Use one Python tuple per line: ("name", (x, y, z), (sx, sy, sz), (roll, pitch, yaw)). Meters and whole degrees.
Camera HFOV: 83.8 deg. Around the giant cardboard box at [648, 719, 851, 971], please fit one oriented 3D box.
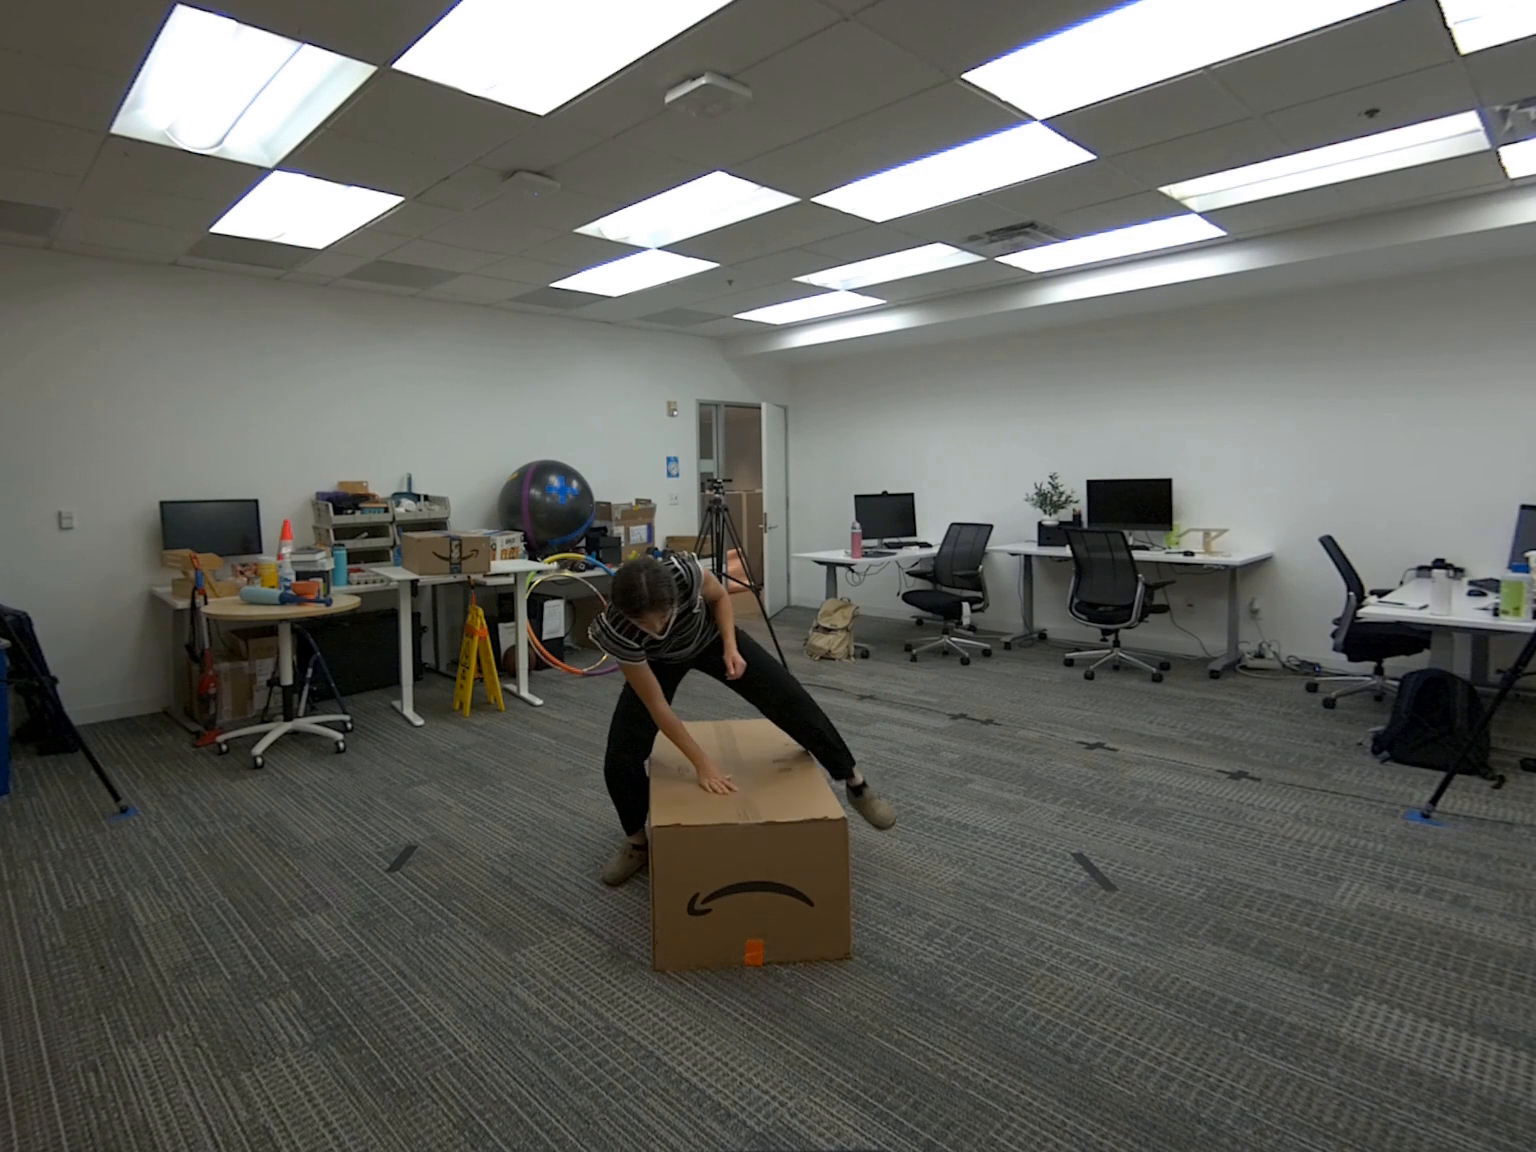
("giant cardboard box", (-0.115, 0.857, 2.947), (0.574, 0.424, 1.037), (-1, 6, -7))
